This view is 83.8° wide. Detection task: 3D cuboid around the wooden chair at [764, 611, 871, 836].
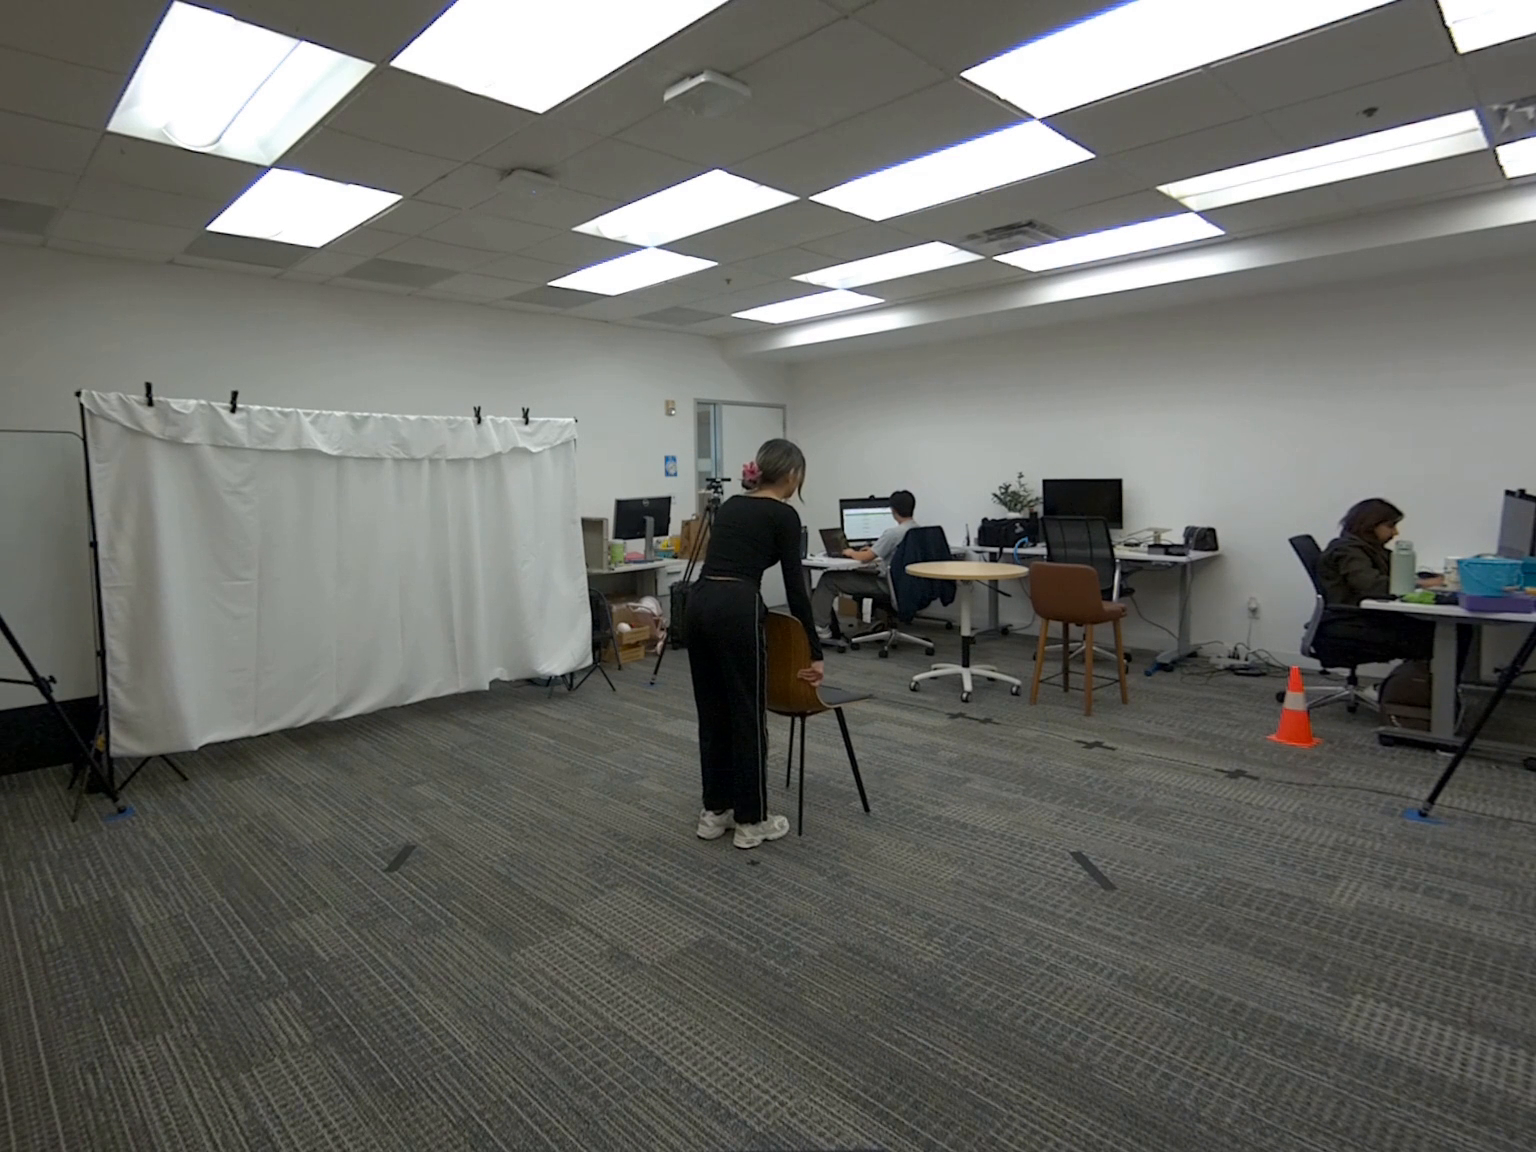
[{"bbox_3d":[0.126,0.535,3.539,0.493,0.874,0.509,3,6,44],"label":"wooden chair"}]
